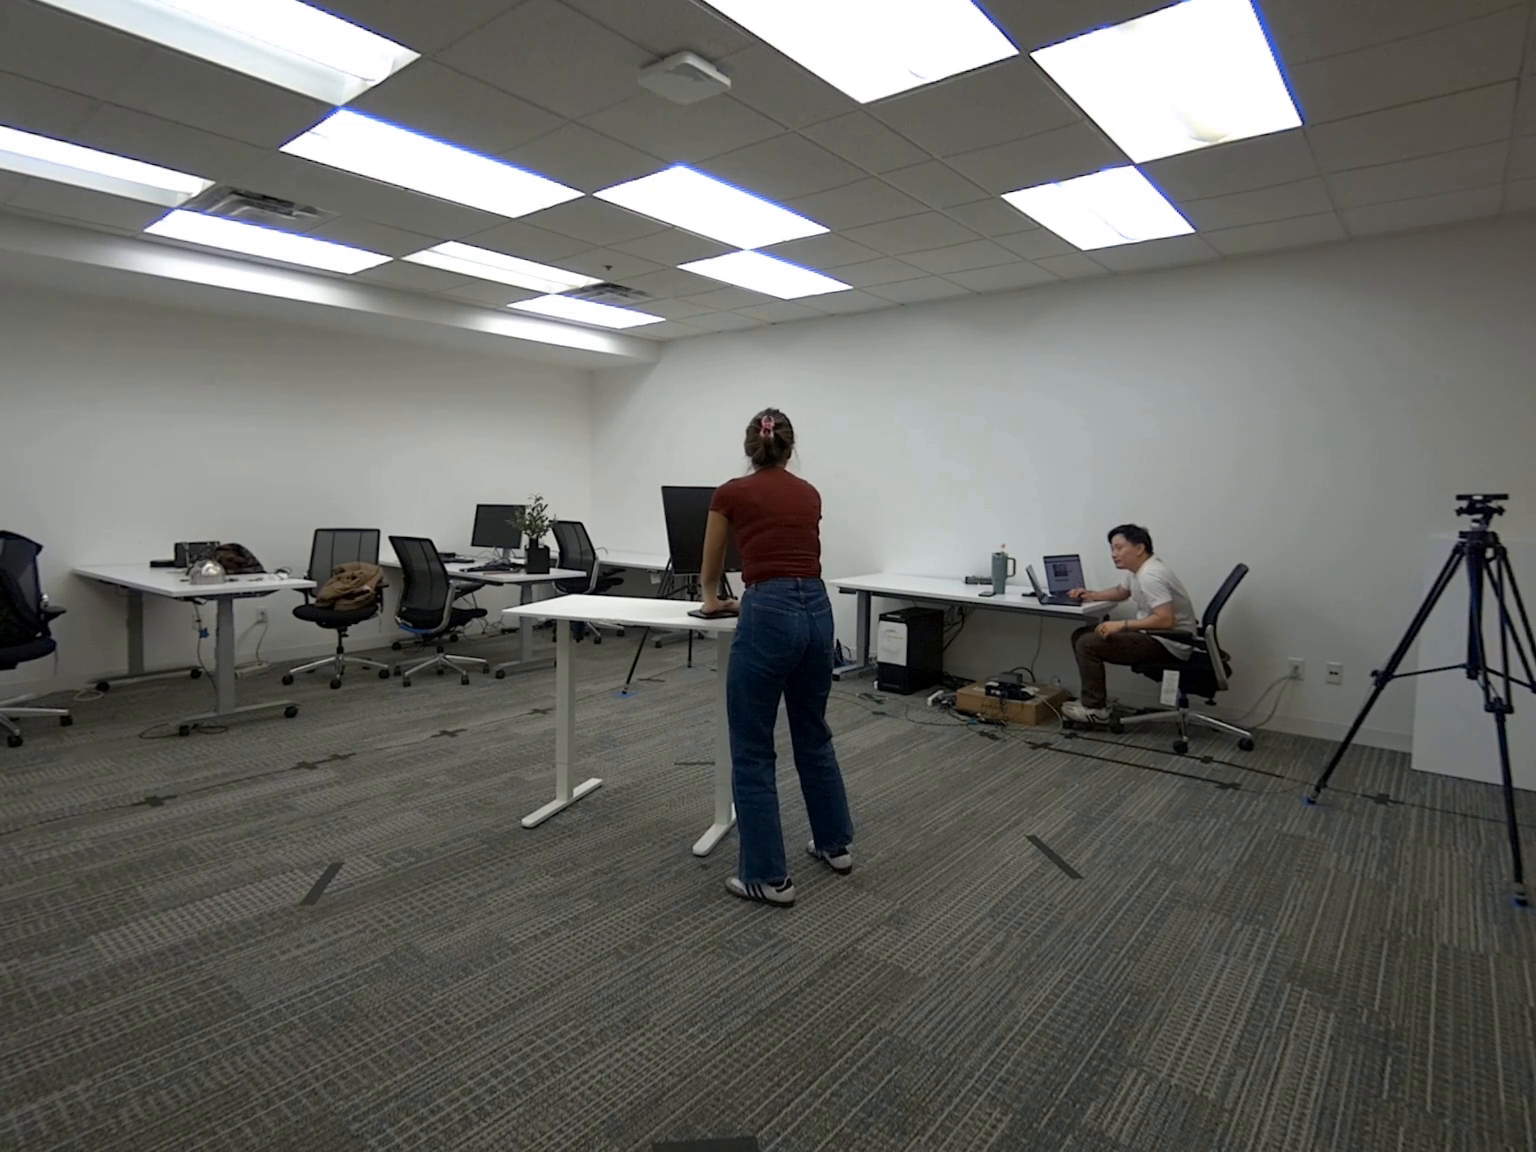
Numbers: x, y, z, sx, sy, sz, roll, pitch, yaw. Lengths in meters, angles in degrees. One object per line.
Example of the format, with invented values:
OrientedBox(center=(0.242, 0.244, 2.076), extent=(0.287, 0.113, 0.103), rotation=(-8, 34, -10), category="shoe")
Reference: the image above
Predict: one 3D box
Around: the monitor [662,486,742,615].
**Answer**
OrientedBox(center=(-0.193, -0.102, 3.424), extent=(0.523, 0.522, 0.193), rotation=(-2, 1, -35), category="monitor")
